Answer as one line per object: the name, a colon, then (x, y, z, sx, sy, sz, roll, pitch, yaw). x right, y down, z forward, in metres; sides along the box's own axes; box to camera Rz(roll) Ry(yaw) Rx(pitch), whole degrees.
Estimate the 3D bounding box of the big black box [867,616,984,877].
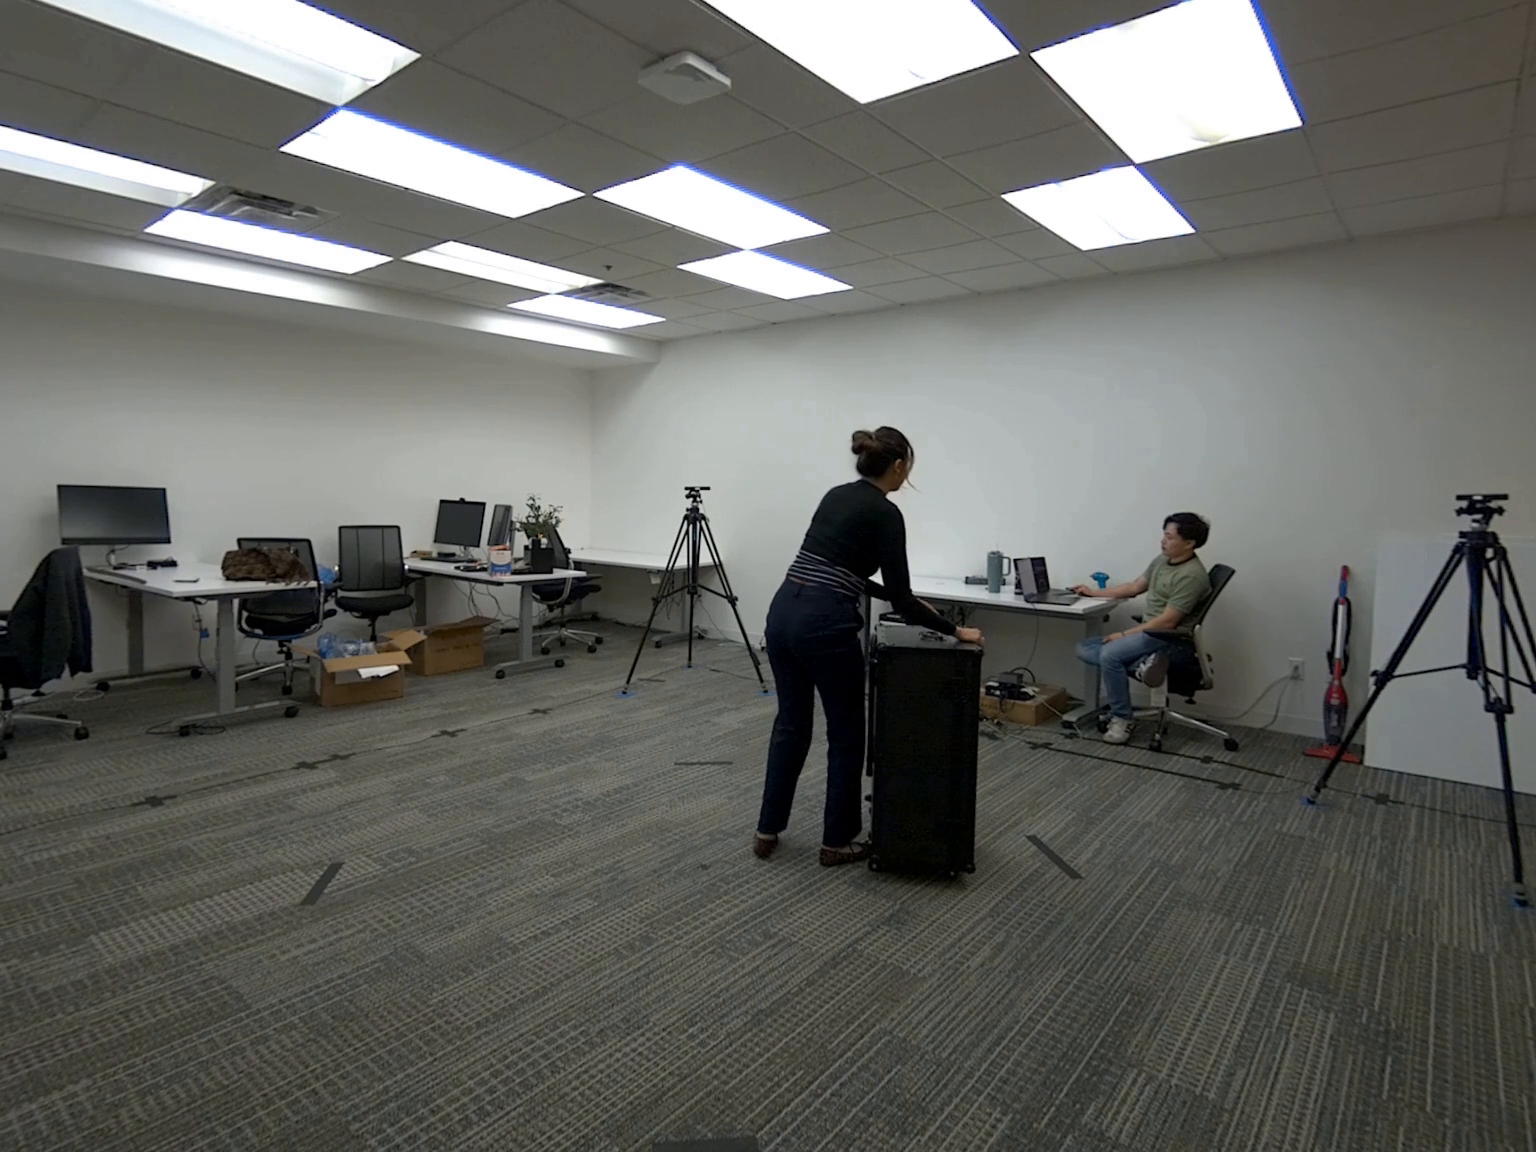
big black box: (0.565, 0.647, 3.197, 0.401, 0.859, 0.517, 1, 4, 9)
